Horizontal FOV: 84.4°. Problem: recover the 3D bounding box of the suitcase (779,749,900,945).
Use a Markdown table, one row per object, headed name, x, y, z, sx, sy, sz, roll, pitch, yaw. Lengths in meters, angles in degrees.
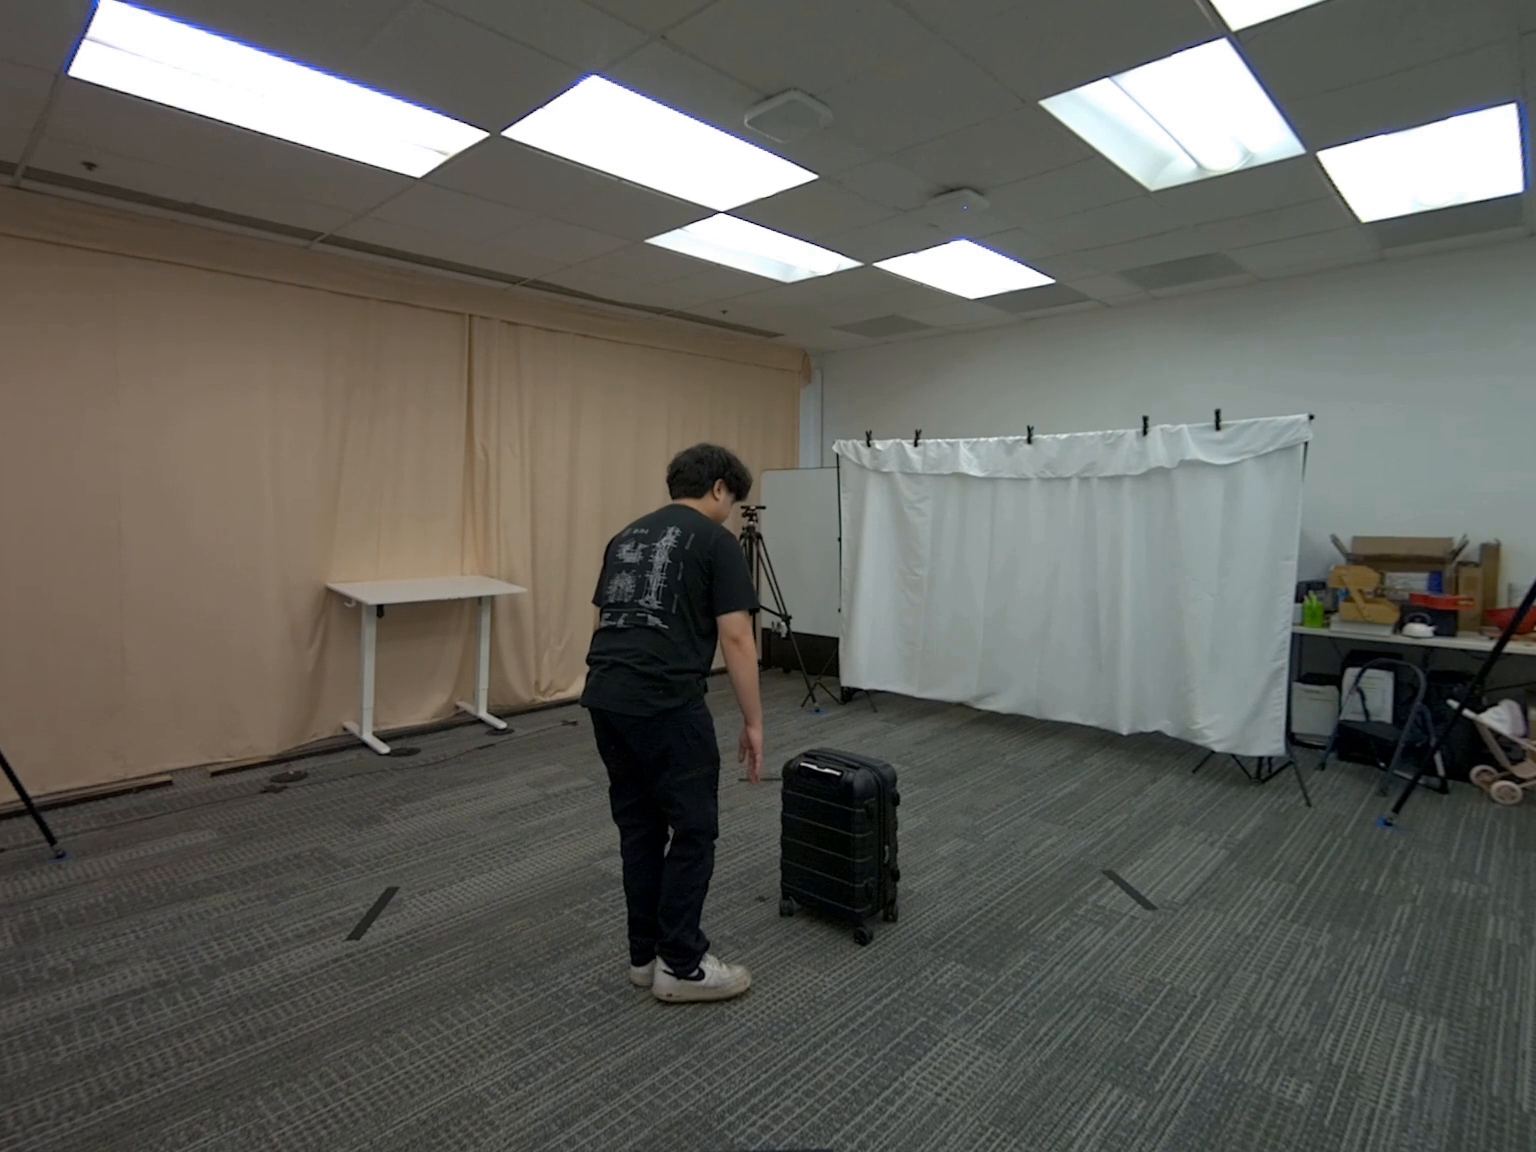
| name | x | y | z | sx | sy | sz | roll | pitch | yaw |
| --- | --- | --- | --- | --- | --- | --- | --- | --- | --- |
| suitcase | 0.241 | 0.879 | 2.854 | 0.388 | 0.549 | 0.240 | 2 | 3 | 42 |
